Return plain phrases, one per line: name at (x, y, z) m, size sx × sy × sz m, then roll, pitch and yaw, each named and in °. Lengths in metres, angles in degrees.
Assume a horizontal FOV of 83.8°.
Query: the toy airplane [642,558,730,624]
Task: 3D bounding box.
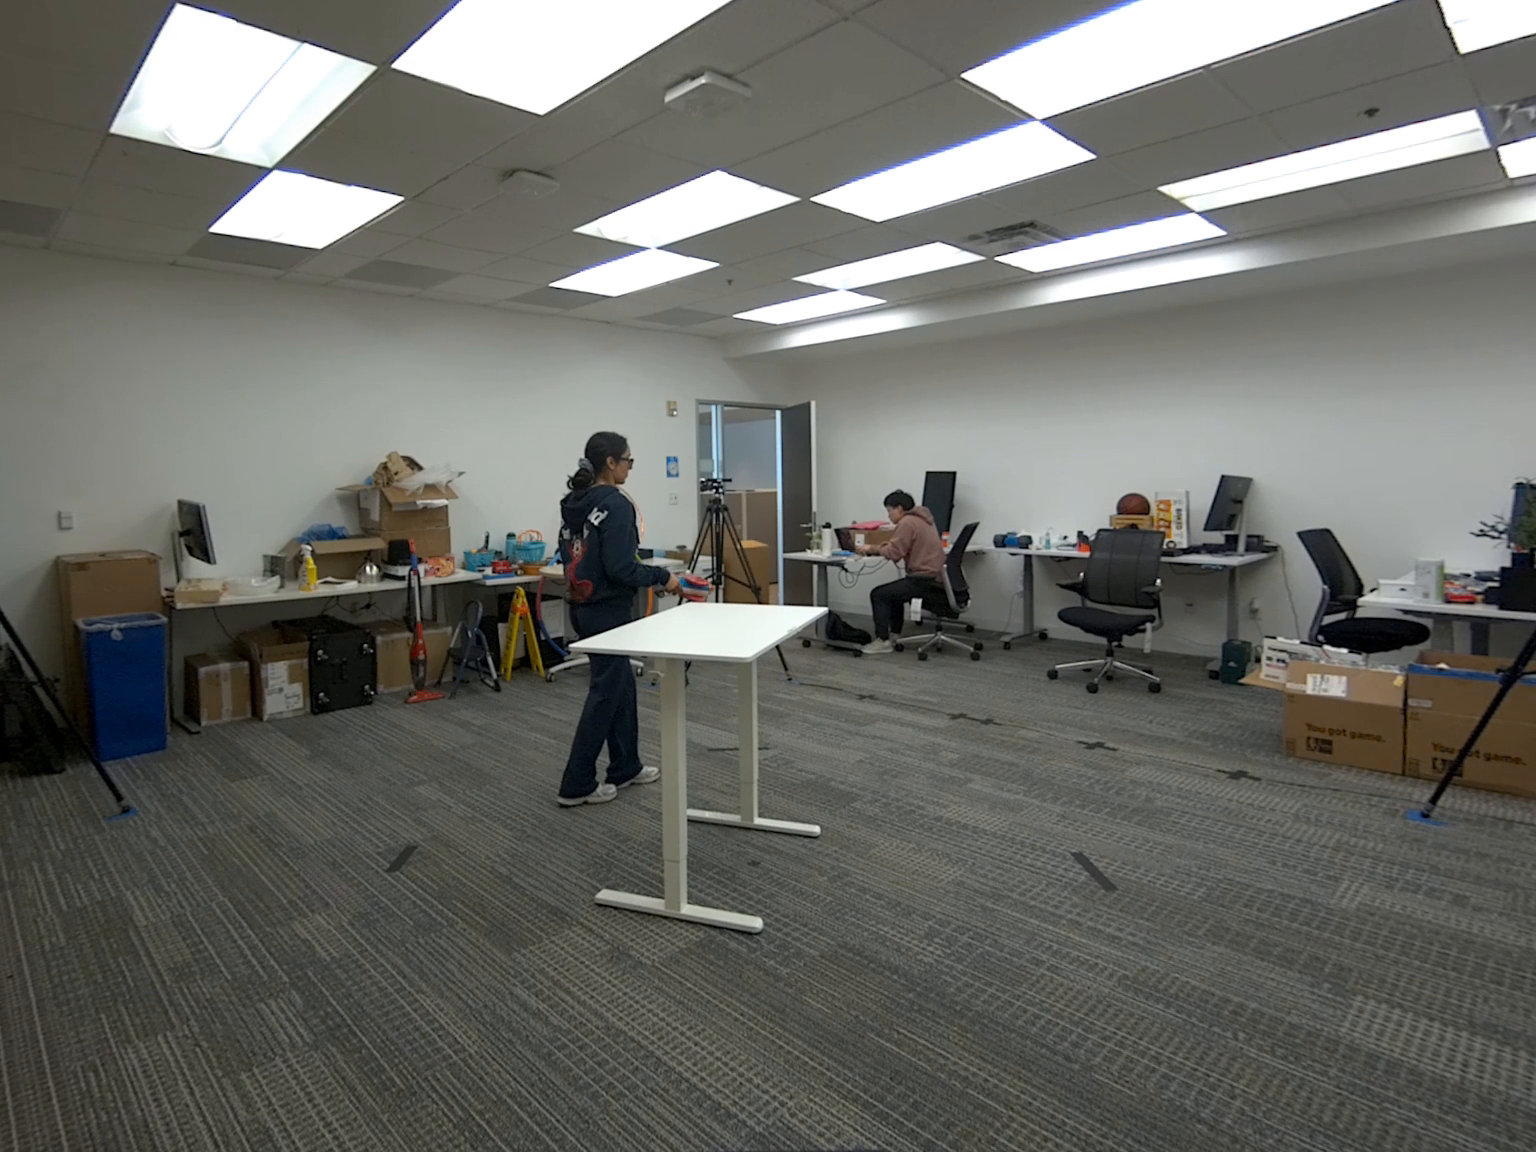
toy airplane at (-0.368, 0.063, 3.797) m, size 0.260 × 0.156 × 0.249 m, roll 23°, pitch -1°, yaw 41°
